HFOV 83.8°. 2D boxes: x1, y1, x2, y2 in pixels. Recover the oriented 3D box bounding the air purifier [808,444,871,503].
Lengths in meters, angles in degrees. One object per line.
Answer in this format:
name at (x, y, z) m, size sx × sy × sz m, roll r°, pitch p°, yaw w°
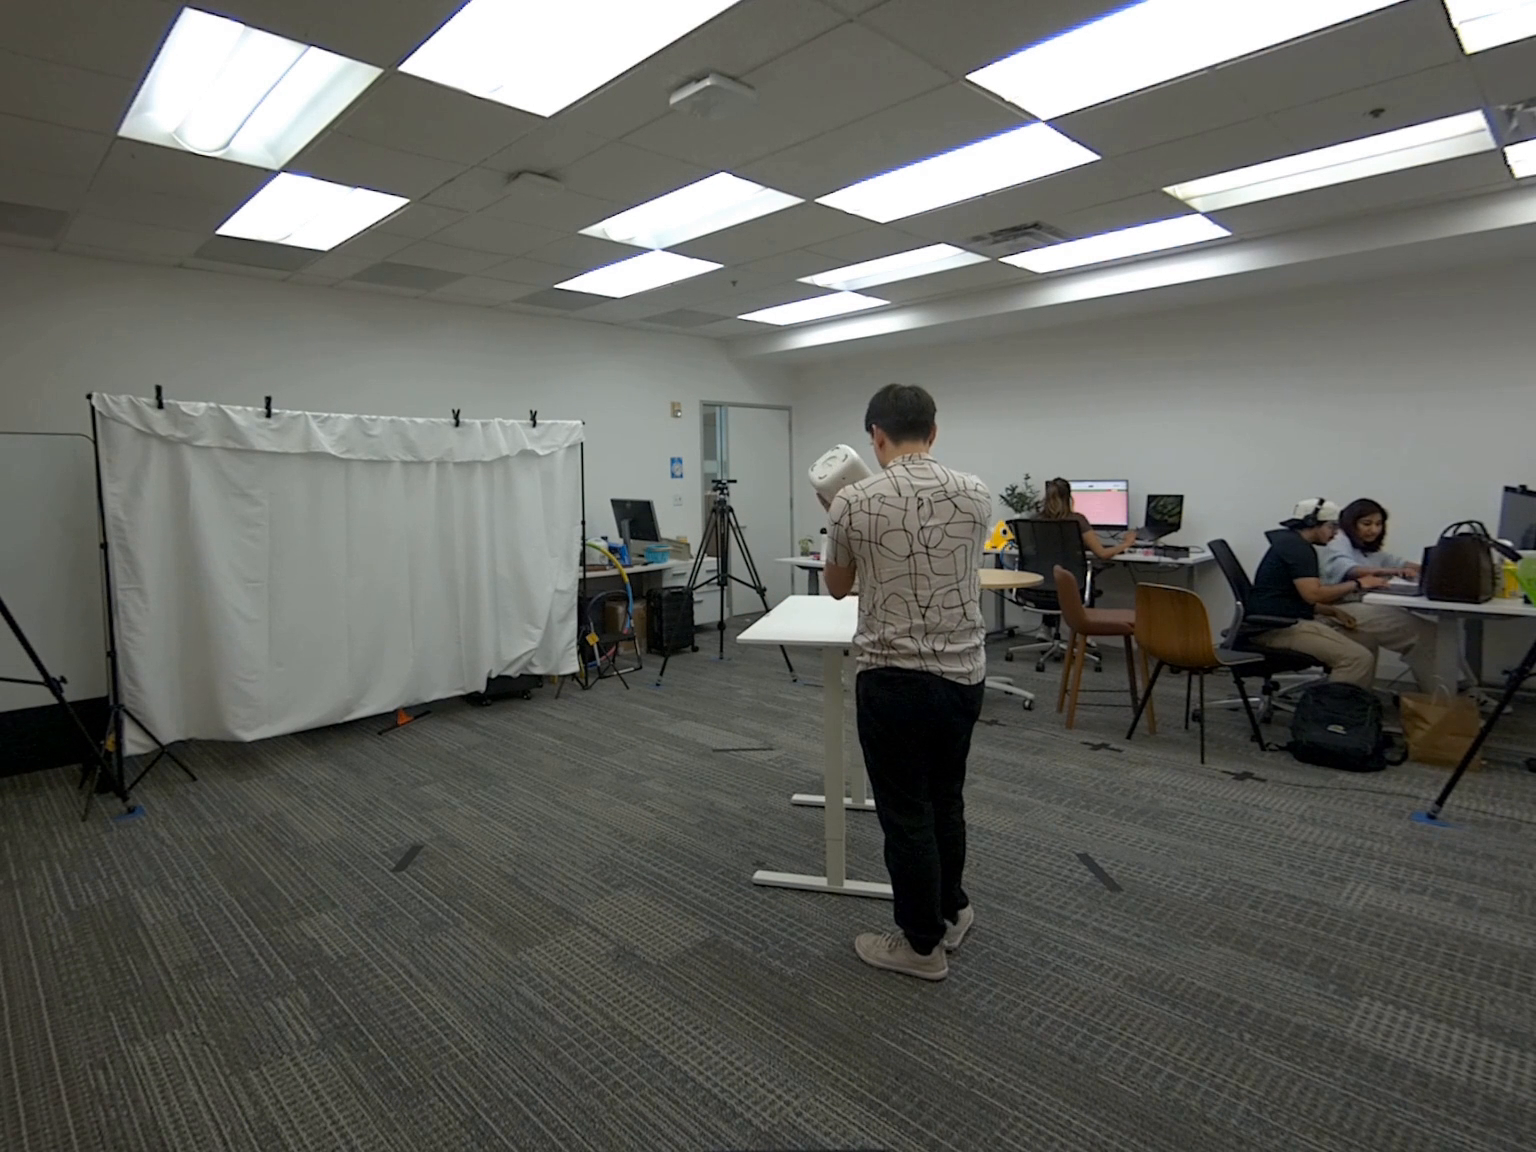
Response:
air purifier at (0.280, -0.271, 2.743) m, size 0.171 × 0.257 × 0.177 m, roll -39°, pitch 27°, yaw 3°
